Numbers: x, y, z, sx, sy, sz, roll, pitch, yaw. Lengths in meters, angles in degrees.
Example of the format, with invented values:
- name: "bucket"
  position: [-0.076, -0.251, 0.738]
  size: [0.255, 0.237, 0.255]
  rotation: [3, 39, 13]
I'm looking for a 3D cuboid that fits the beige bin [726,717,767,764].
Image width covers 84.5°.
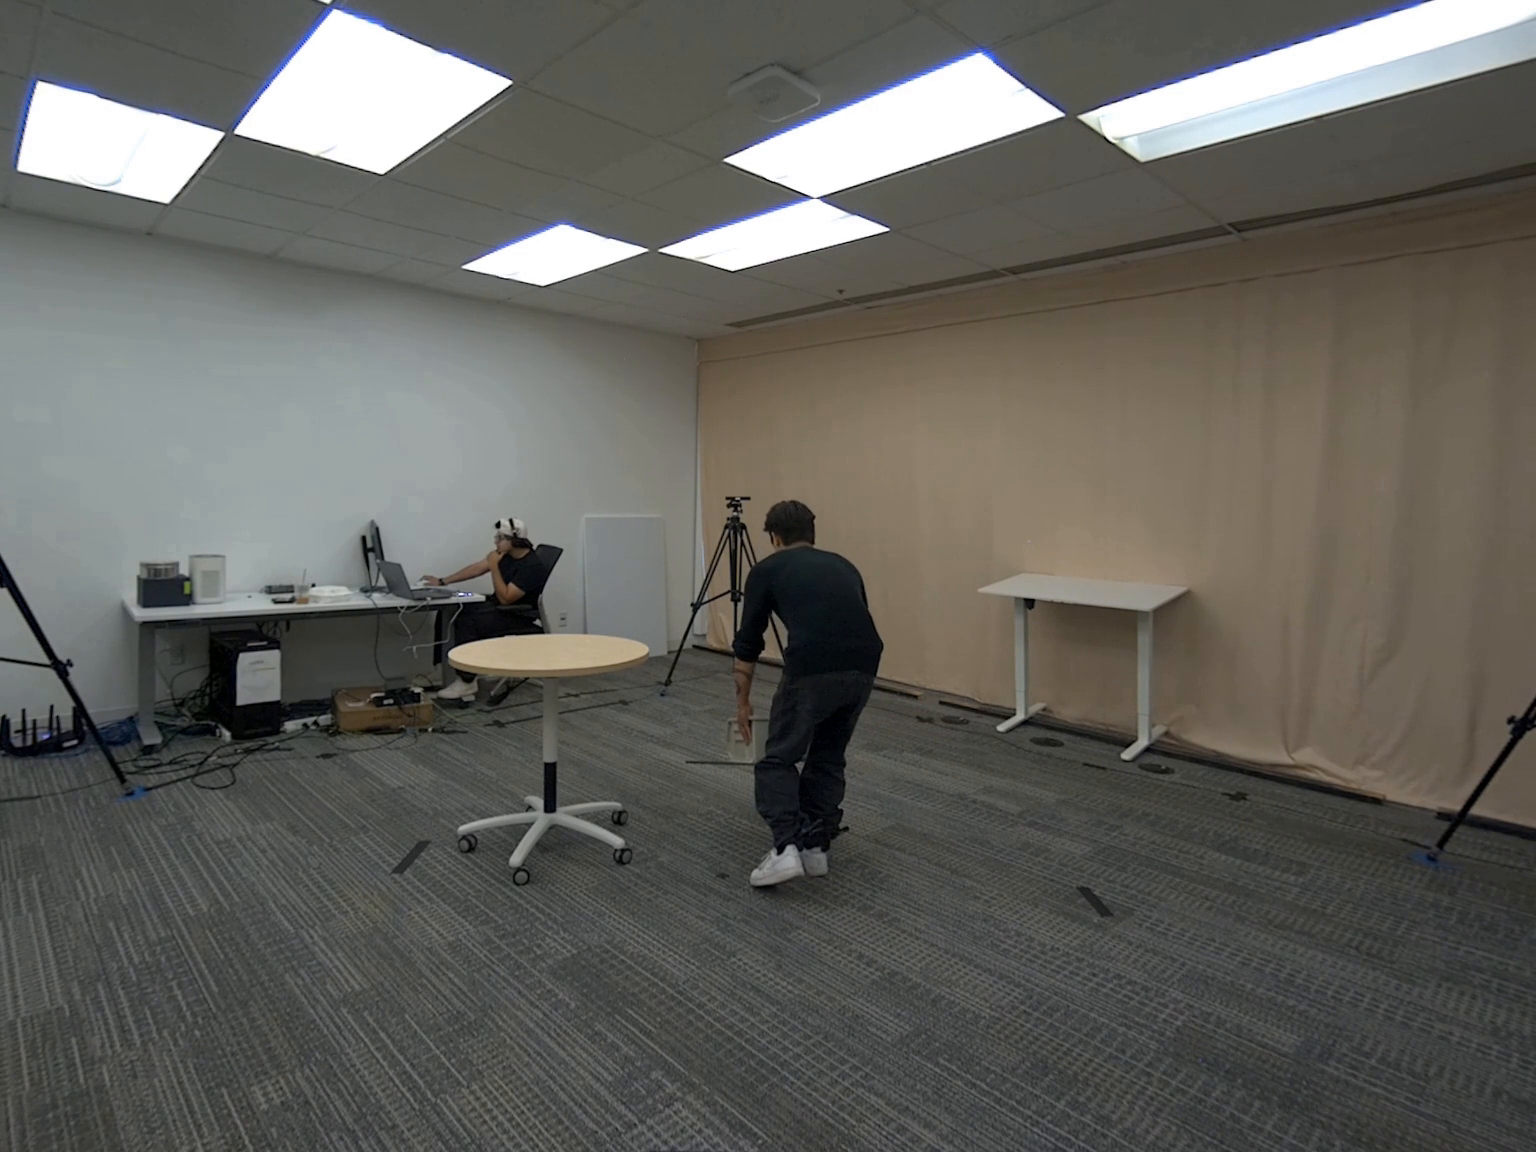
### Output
- name: "beige bin"
  position: [0.068, 0.681, 3.492]
  size: [0.417, 0.190, 0.379]
  rotation: [5, -11, -17]
